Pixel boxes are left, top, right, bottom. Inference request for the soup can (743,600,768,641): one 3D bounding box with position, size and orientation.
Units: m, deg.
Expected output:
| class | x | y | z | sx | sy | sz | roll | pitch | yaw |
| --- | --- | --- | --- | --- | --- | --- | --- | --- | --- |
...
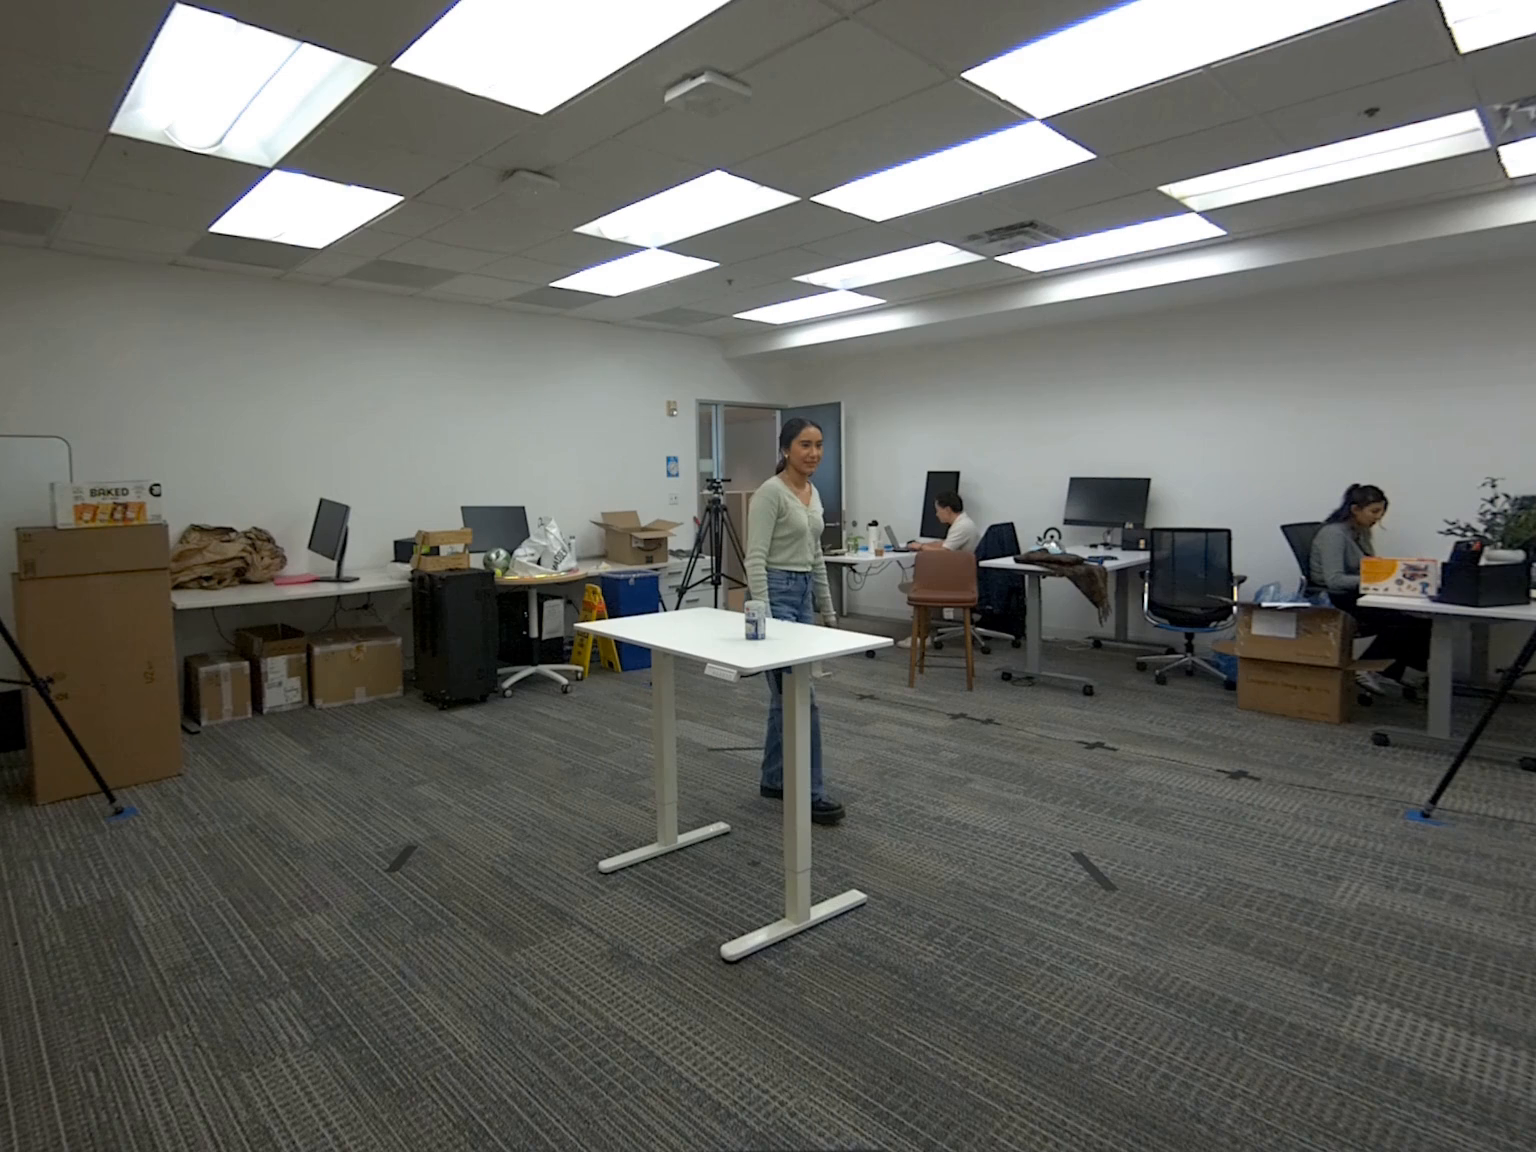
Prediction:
| class | x | y | z | sx | sy | sz | roll | pitch | yaw |
| --- | --- | --- | --- | --- | --- | --- | --- | --- | --- |
| soup can | -0.035 | 0.146 | 2.730 | 0.067 | 0.121 | 0.067 | -1 | 4 | -2 |
